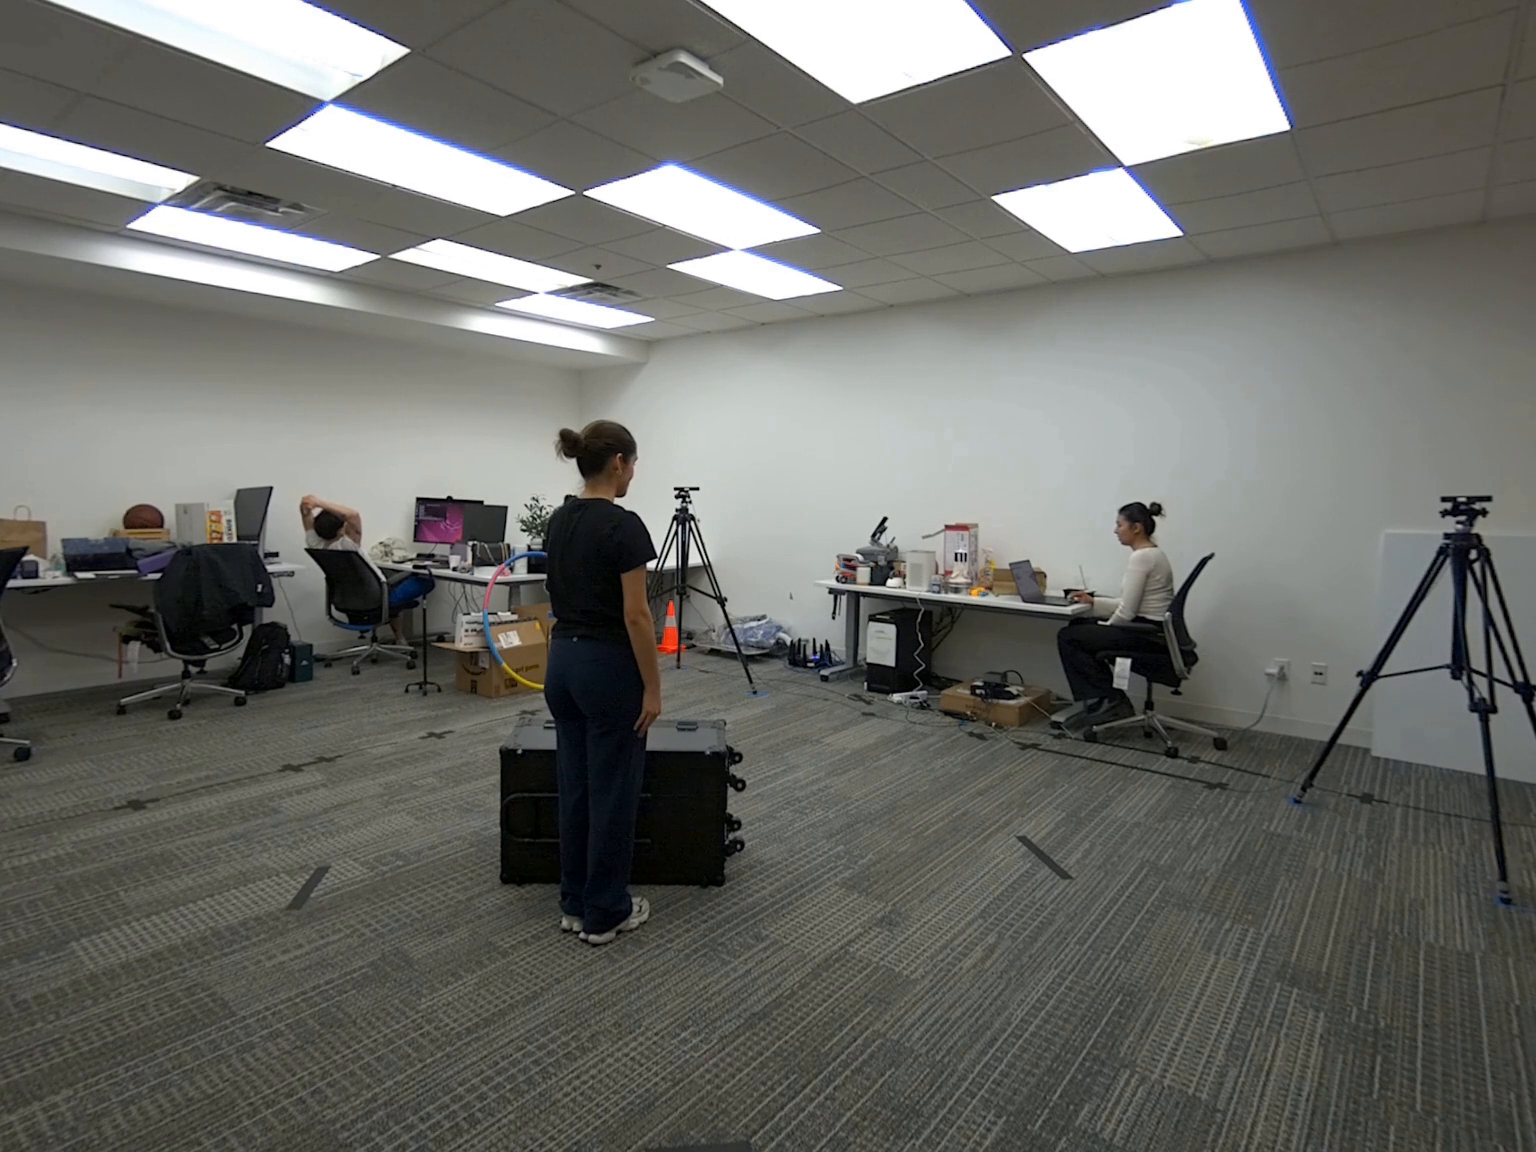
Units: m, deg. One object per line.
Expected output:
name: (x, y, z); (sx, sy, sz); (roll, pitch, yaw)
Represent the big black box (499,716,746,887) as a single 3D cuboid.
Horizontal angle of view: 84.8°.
big black box: (-0.506, 0.803, 3.121); (0.861, 0.518, 0.399); (0, 6, -1)
